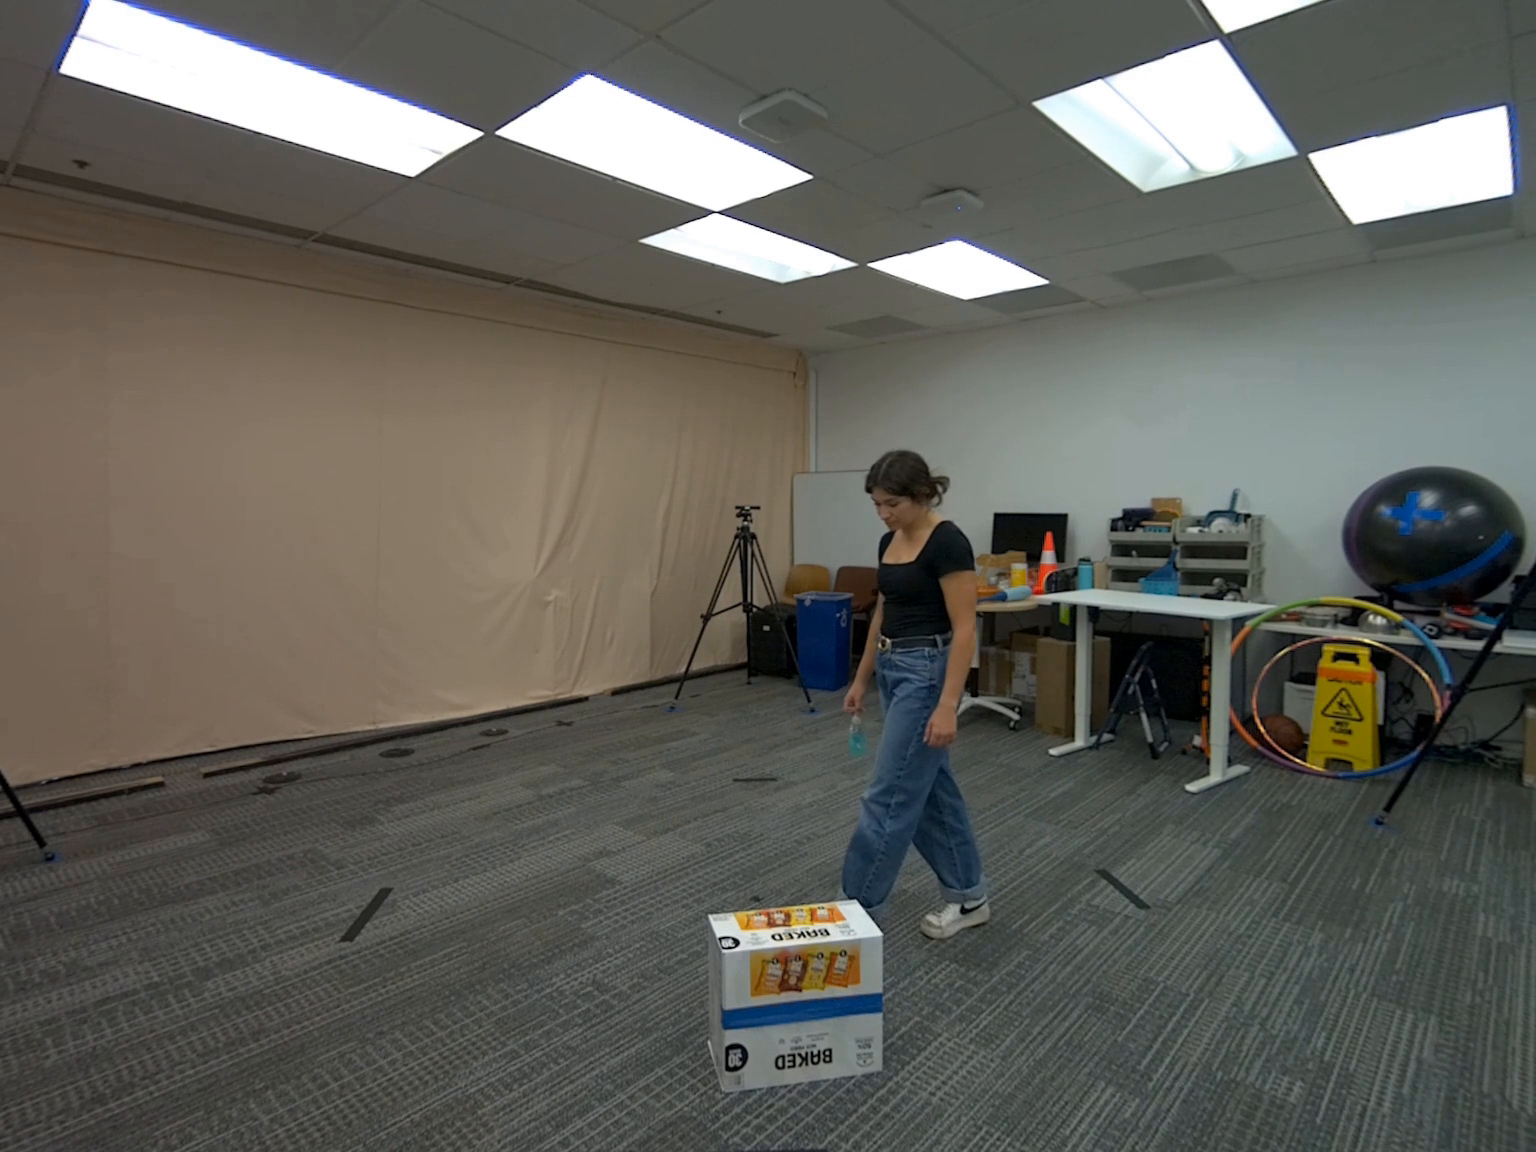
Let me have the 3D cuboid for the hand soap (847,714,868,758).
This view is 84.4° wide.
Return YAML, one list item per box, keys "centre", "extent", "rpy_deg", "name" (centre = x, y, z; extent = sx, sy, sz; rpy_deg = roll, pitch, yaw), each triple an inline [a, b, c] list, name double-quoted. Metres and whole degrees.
- centre: [0.314, 0.540, 2.890]
  extent: [0.082, 0.168, 0.044]
  rpy_deg: [0, -4, -40]
  name: "hand soap"
